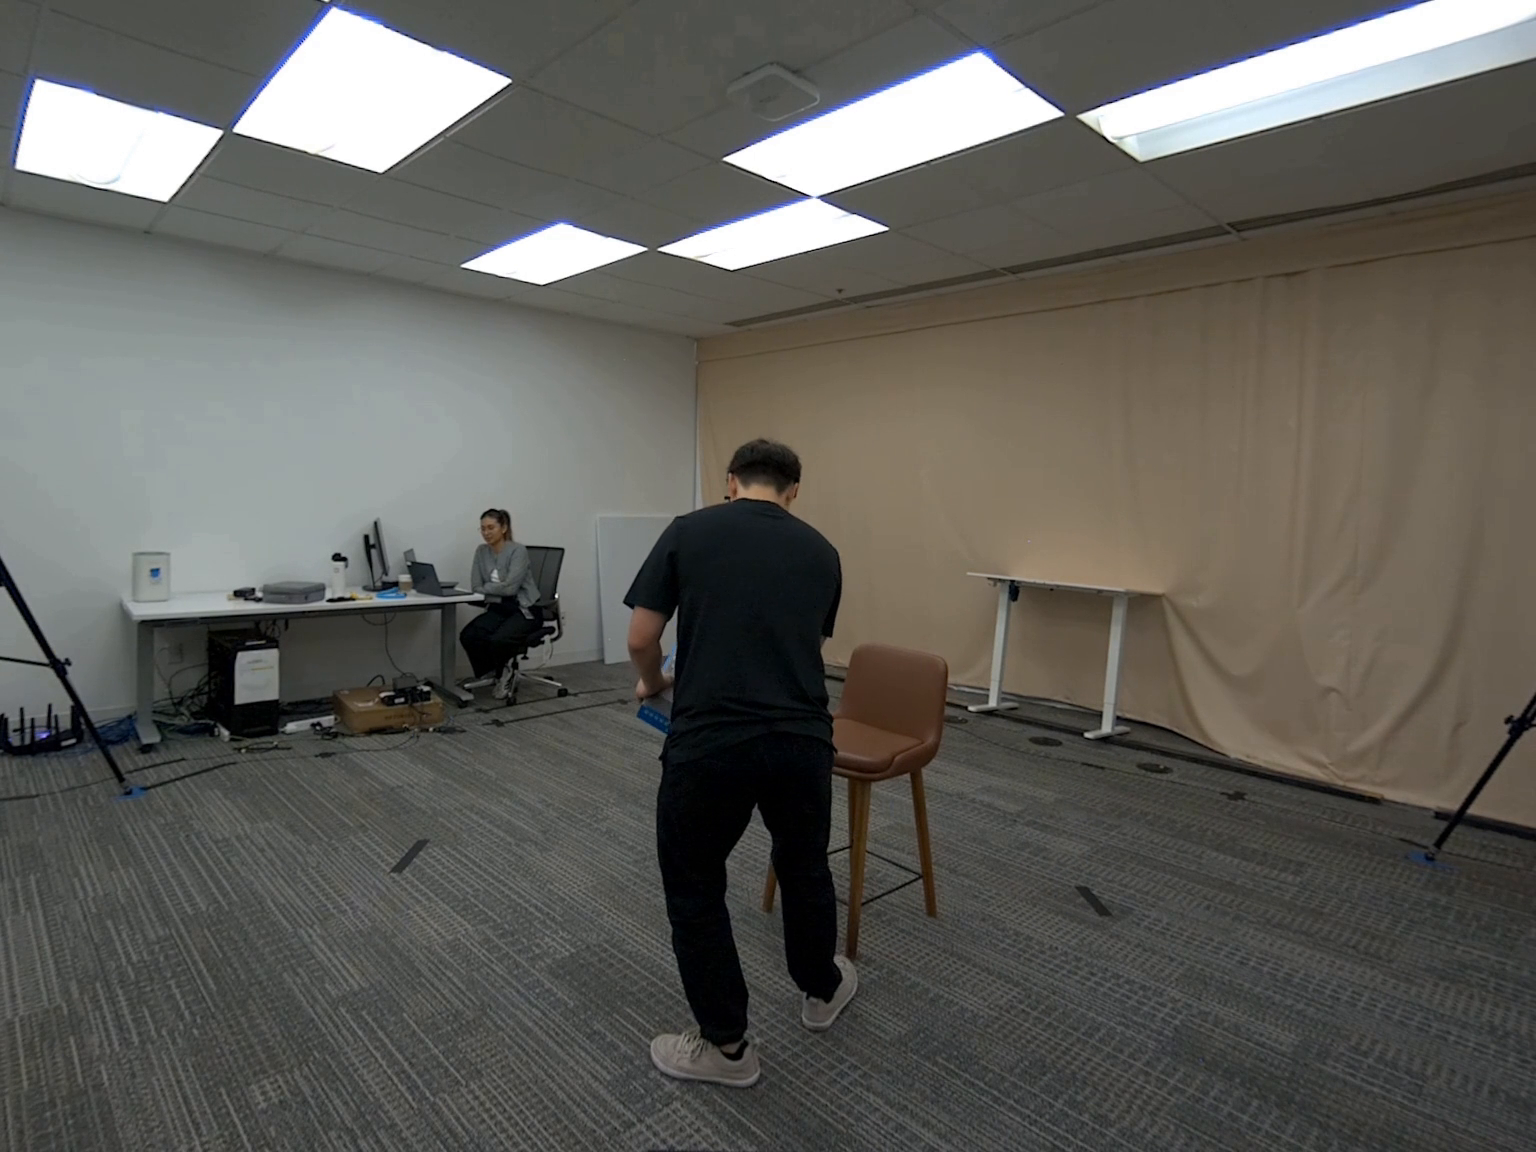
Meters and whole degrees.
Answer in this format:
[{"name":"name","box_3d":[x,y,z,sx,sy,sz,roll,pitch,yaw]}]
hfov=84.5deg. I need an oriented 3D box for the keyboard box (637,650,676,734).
[{"name":"keyboard box","box_3d":[-0.206,0.281,2.362,0.176,0.058,0.439,29,37,1]}]
